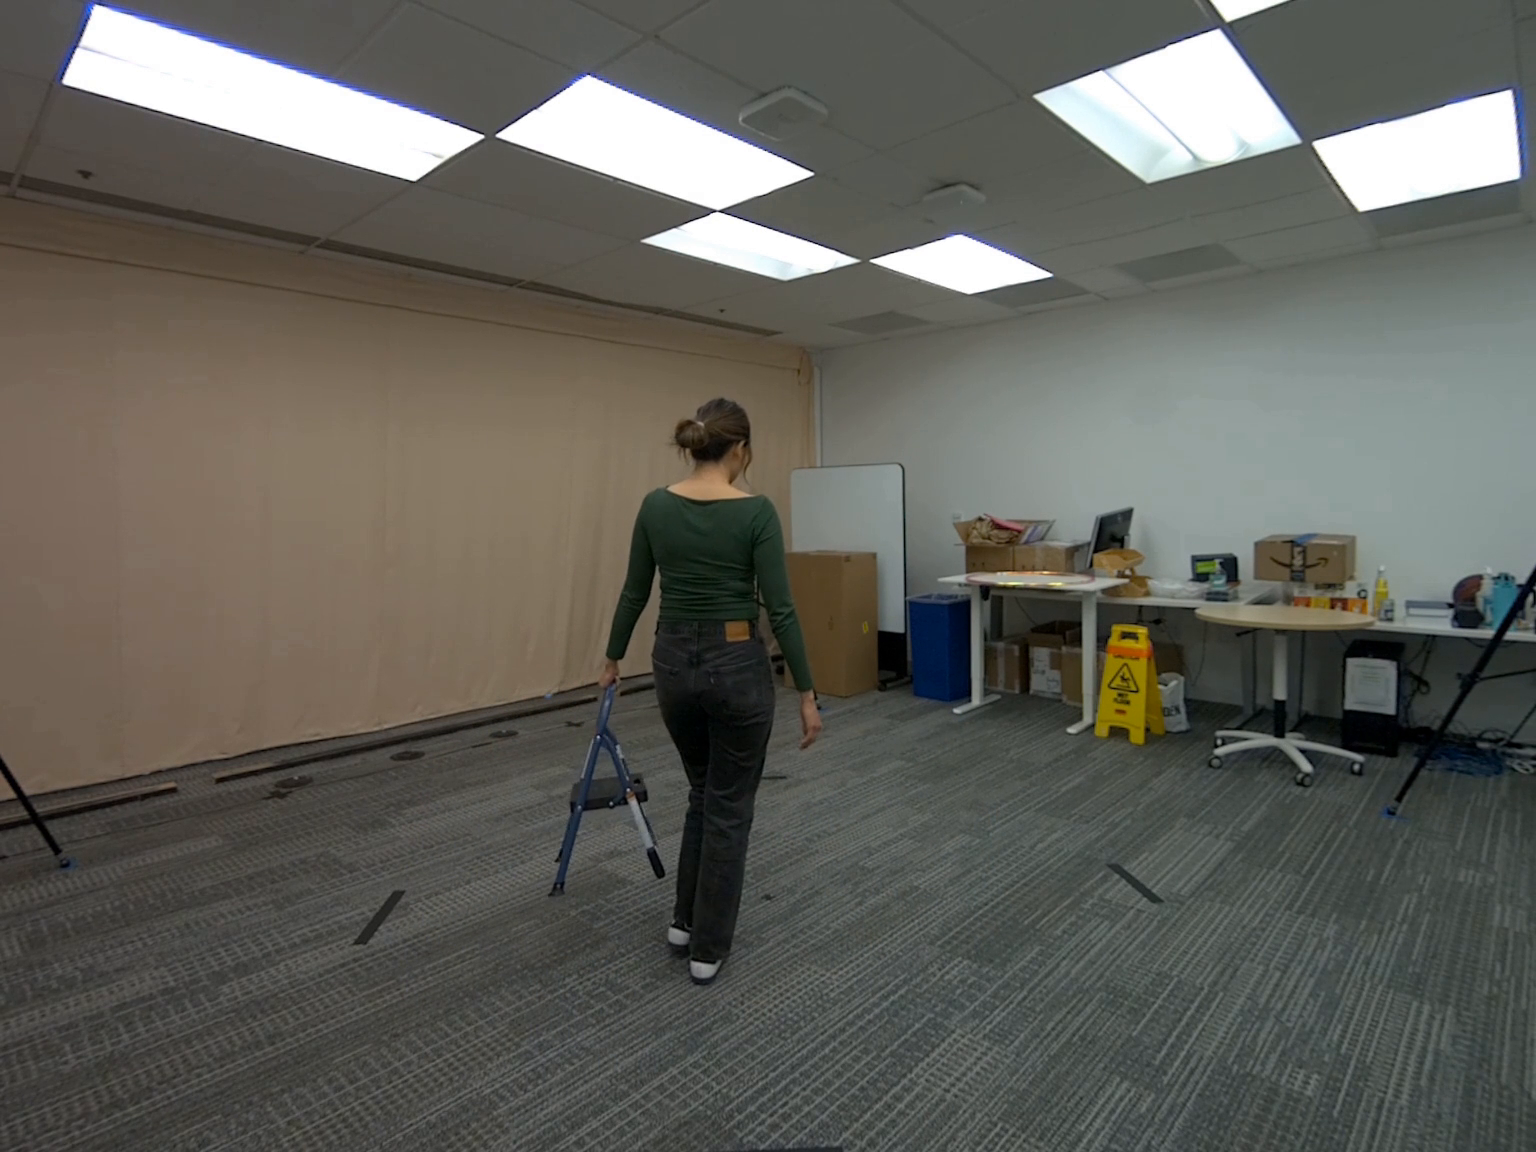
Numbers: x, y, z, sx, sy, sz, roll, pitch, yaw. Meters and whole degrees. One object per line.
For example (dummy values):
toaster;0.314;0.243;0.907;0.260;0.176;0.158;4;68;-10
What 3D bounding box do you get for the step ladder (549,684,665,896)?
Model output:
step ladder;-0.551;0.655;2.749;0.345;0.608;0.434;-6;-5;-13
